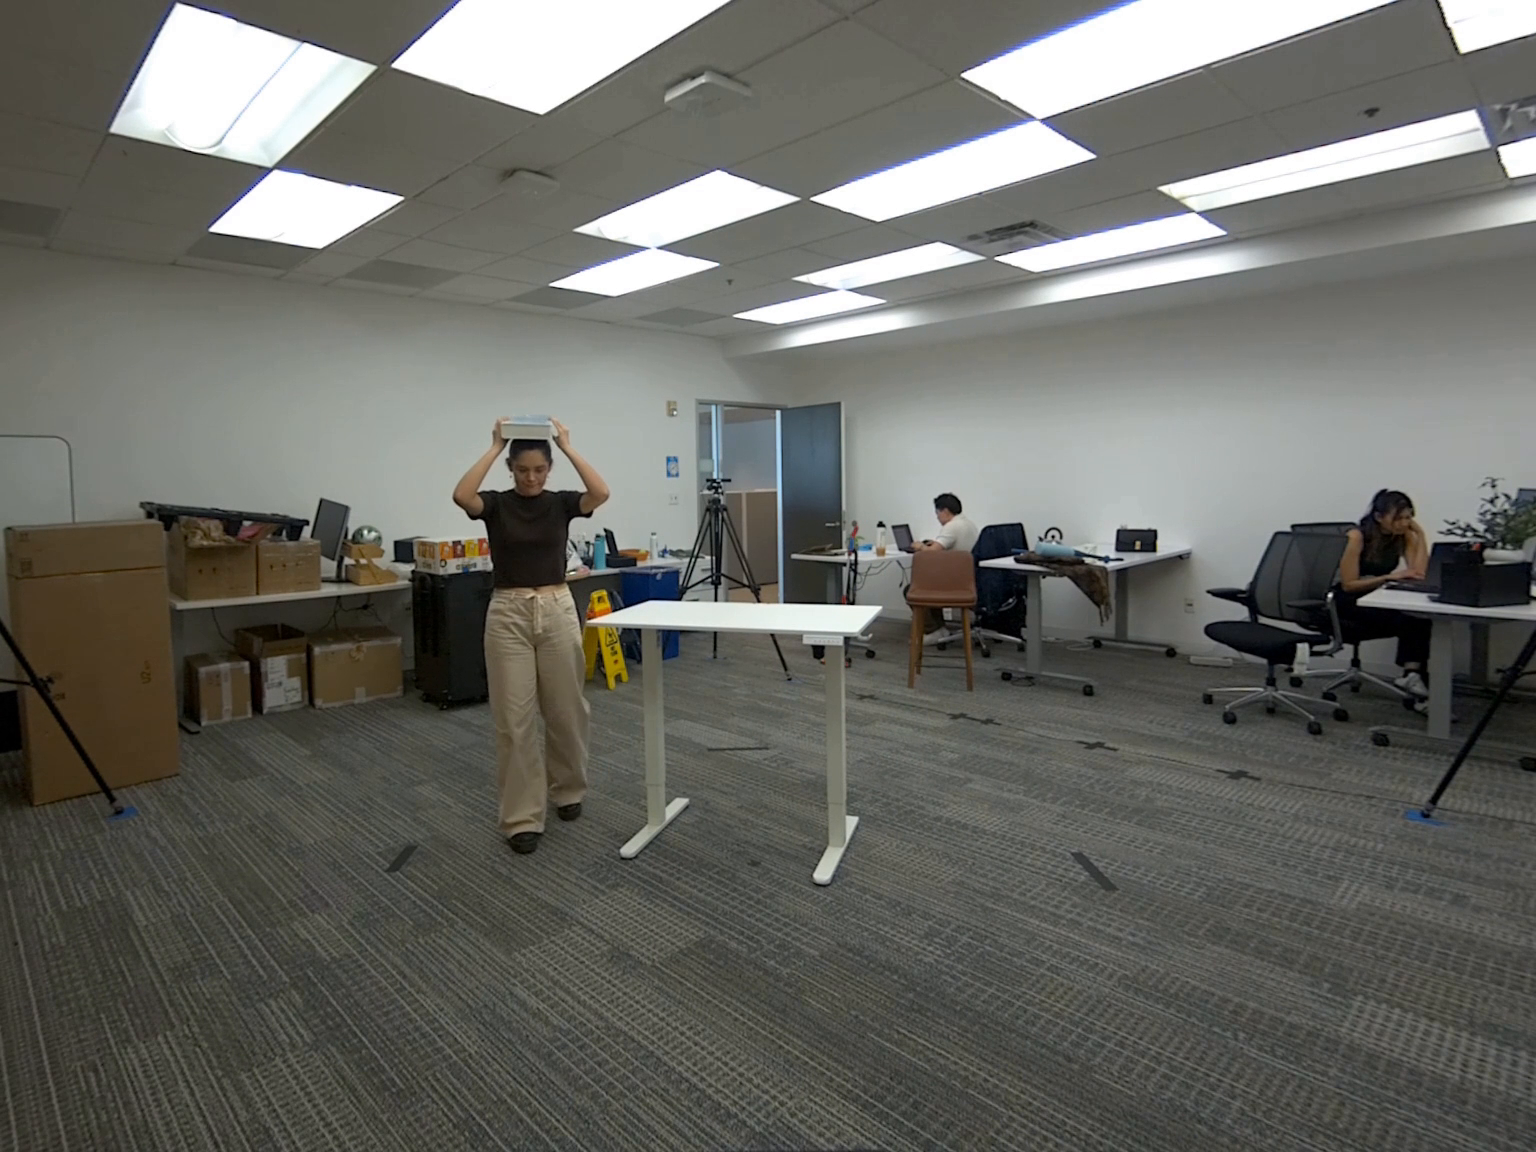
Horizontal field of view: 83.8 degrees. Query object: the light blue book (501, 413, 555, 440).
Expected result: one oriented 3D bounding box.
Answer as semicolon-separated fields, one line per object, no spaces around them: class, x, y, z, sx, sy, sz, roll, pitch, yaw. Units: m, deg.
light blue book;-0.931;-0.582;3.315;0.190;0.058;0.267;-1;18;-10
